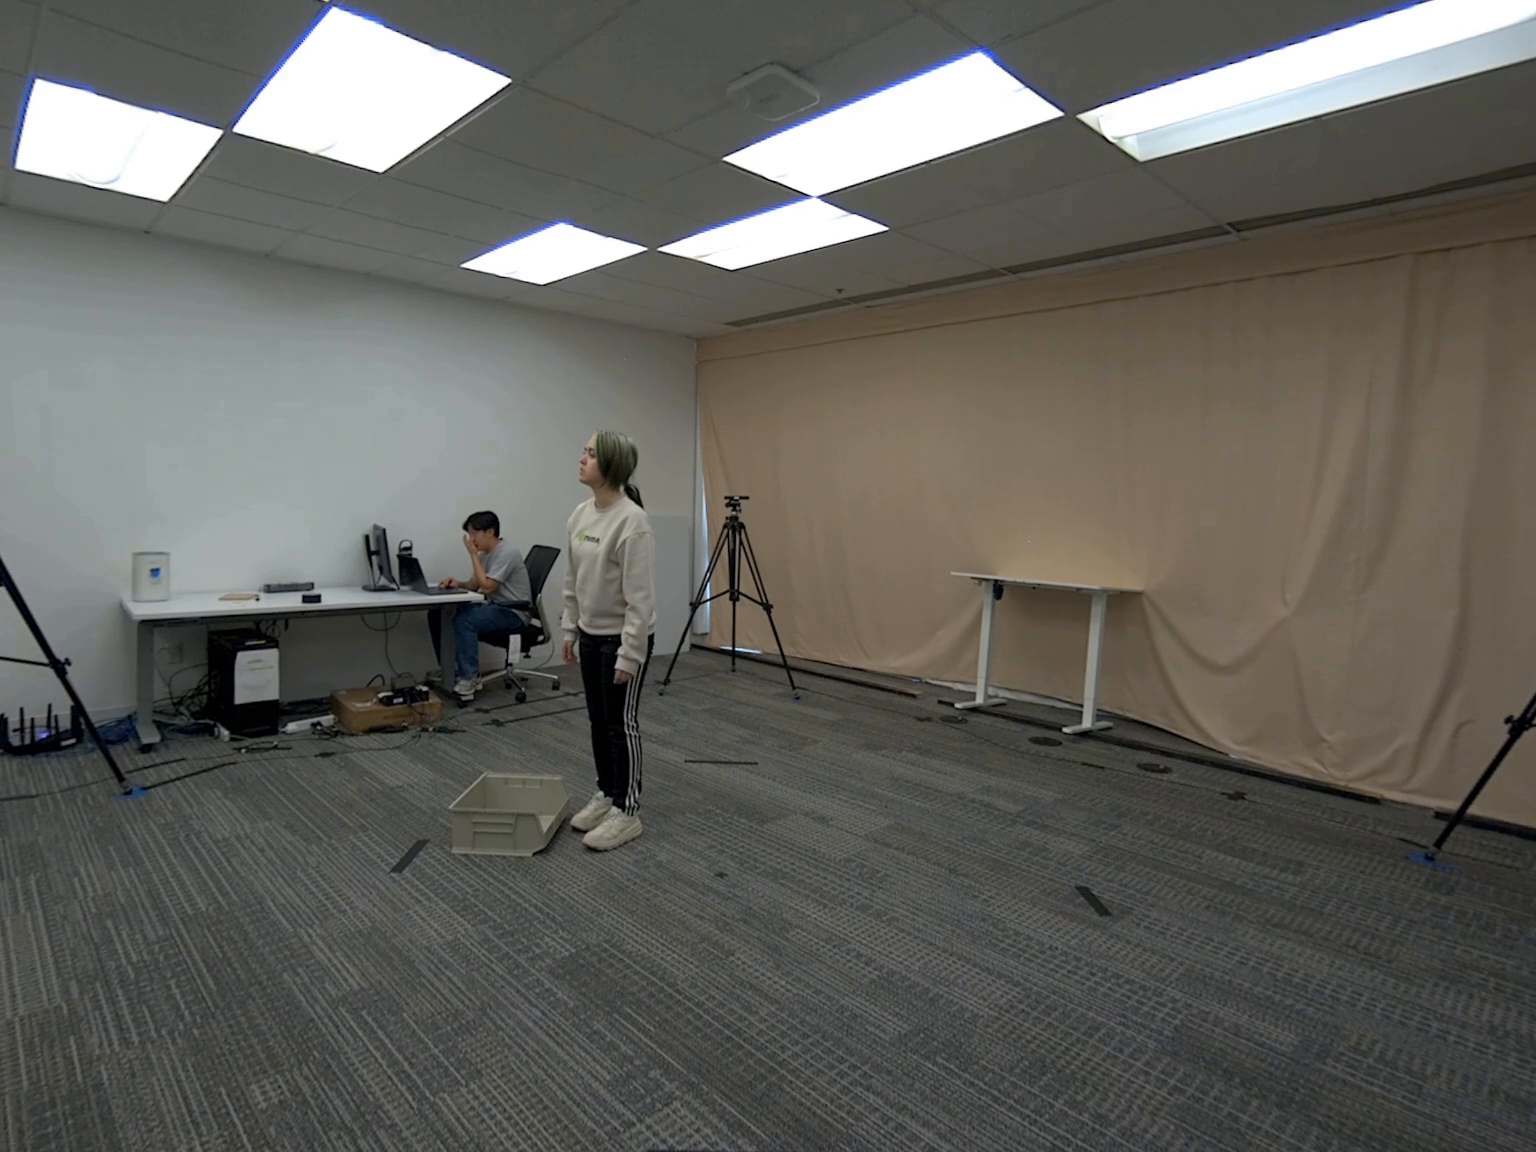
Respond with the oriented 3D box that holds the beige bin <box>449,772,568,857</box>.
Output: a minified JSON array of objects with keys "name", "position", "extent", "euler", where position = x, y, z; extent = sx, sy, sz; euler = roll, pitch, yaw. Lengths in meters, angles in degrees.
[{"name":"beige bin","position":[-1.040,0.963,3.429],"extent":[0.377,0.188,0.423],"euler":[1,5,0]}]
